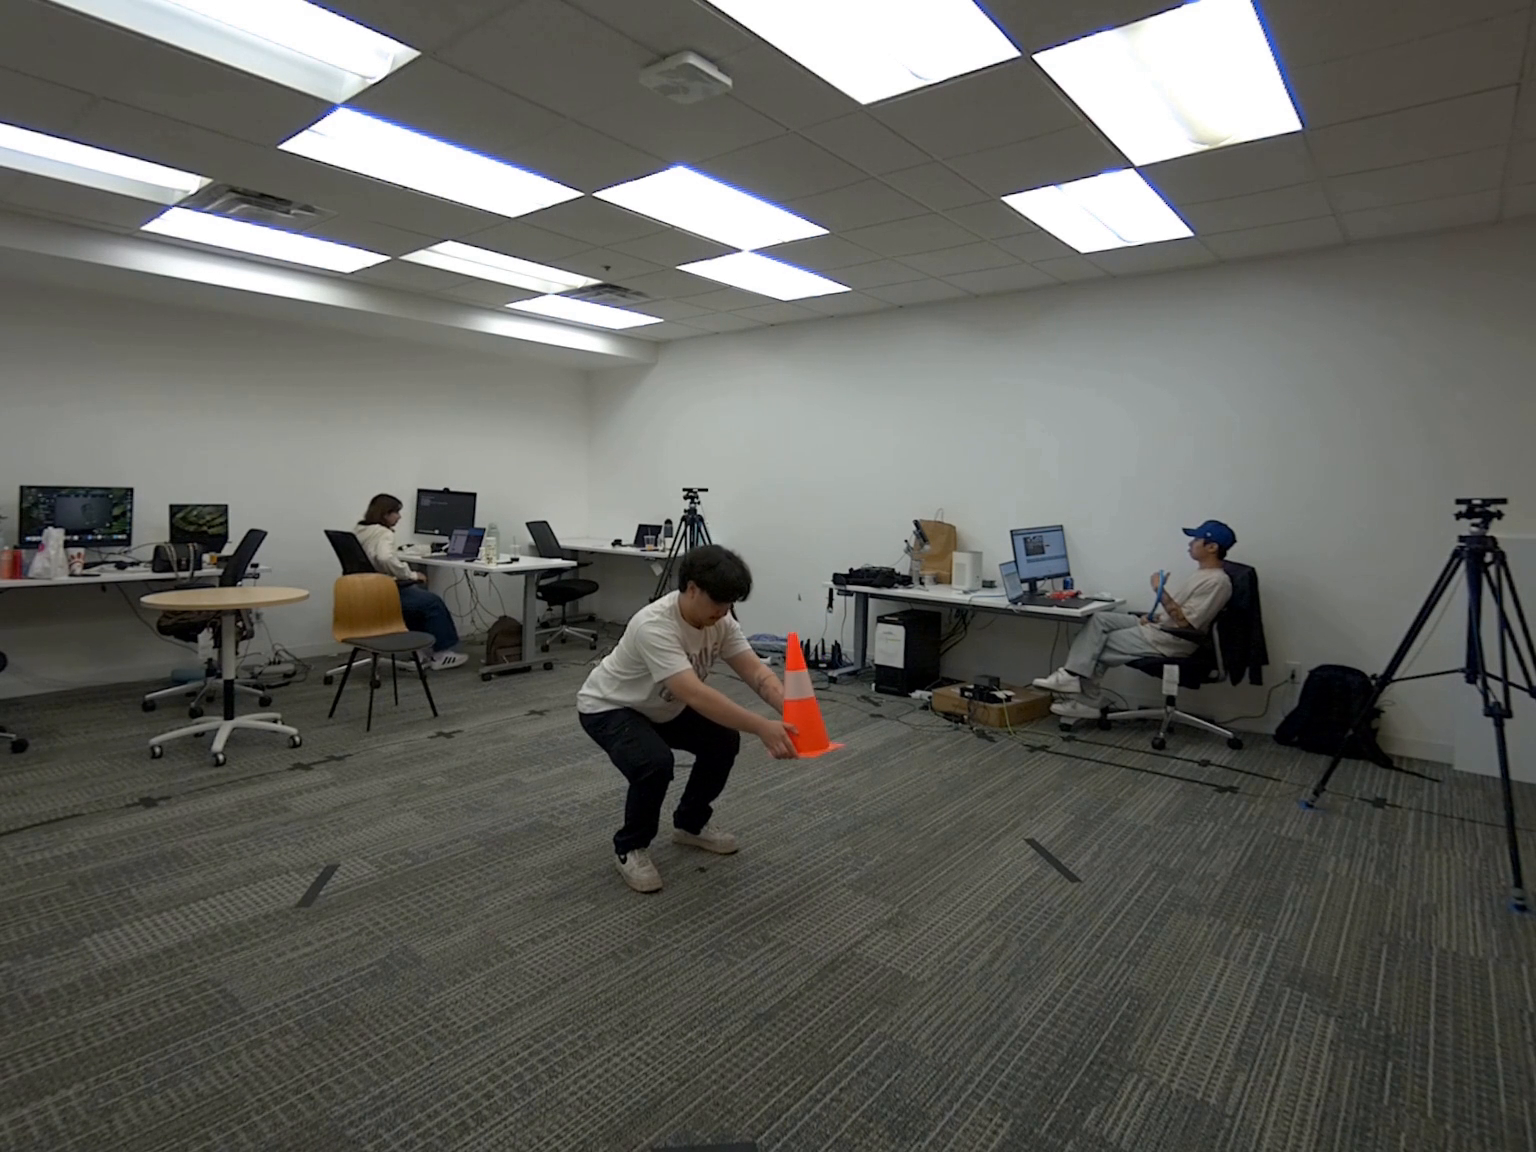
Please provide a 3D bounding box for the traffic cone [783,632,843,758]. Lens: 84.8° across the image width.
[{"bbox_3d":[0.098,0.371,2.793,0.208,0.385,0.199,-7,-4,25],"label":"traffic cone"}]
